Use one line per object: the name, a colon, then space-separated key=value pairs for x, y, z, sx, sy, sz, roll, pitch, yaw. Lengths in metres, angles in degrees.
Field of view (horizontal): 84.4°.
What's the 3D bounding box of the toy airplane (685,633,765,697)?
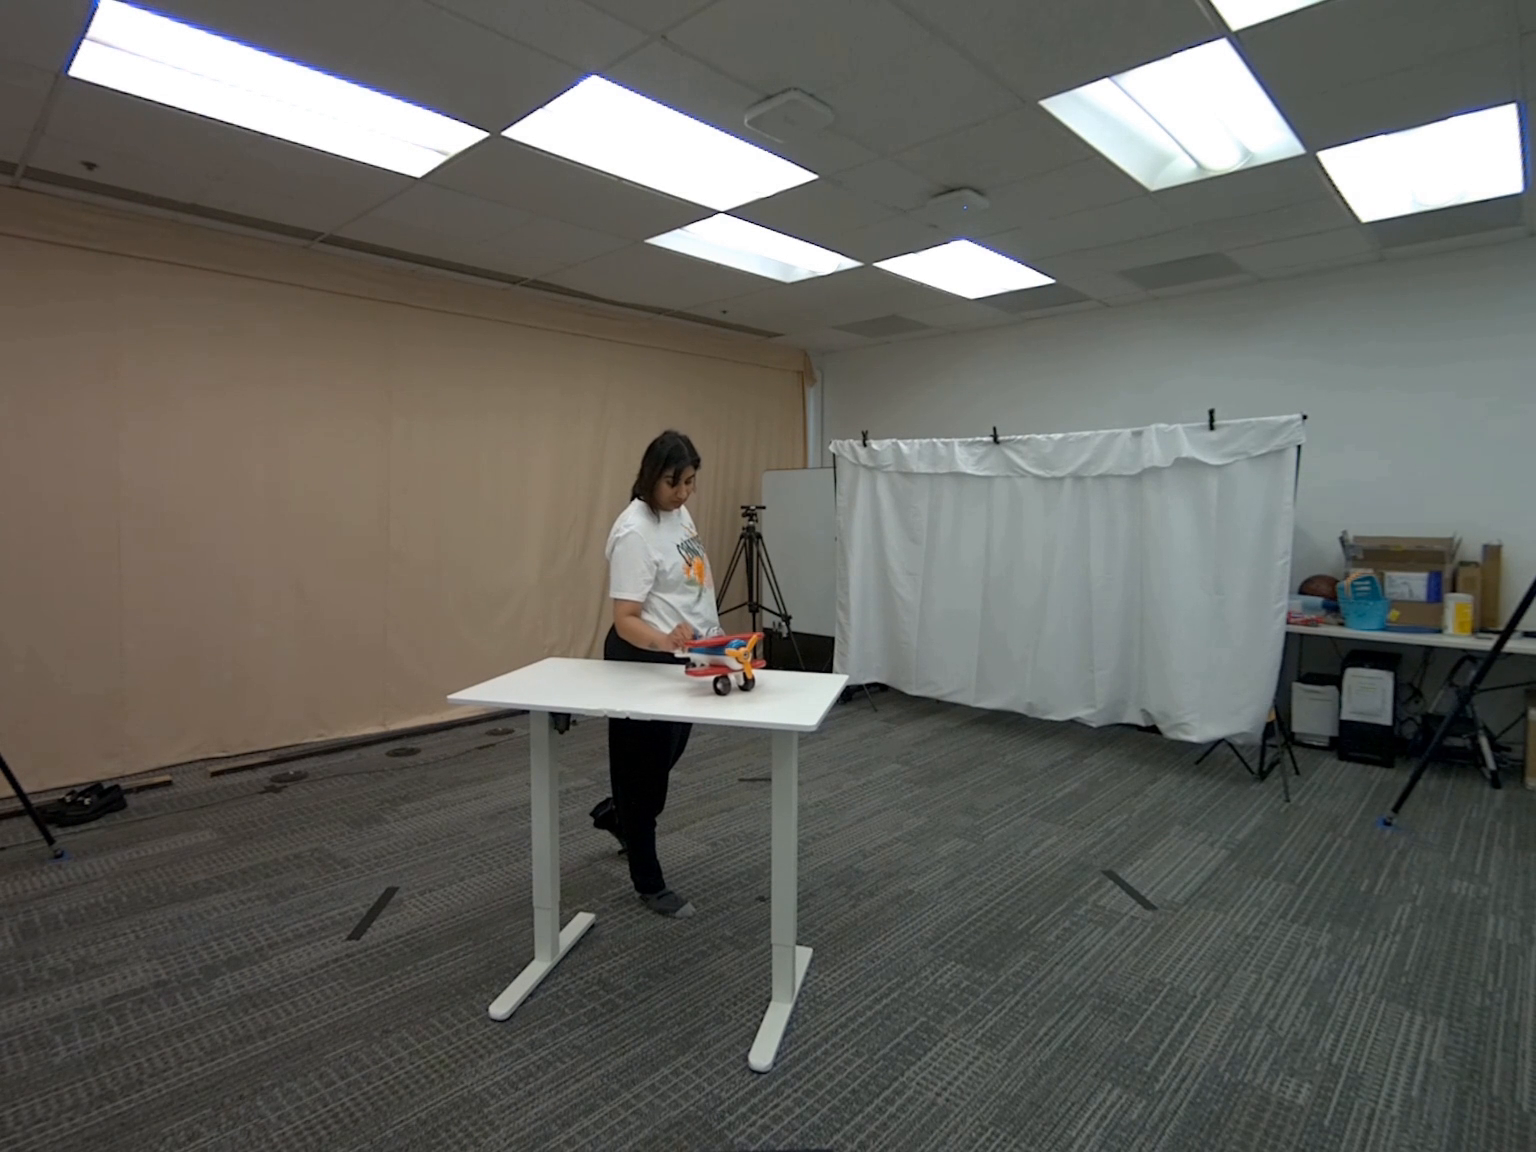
toy airplane: x=-0.147 y=0.233 z=2.339 sx=0.265 sy=0.155 sz=0.246 roll=10 pitch=12 yaw=21
